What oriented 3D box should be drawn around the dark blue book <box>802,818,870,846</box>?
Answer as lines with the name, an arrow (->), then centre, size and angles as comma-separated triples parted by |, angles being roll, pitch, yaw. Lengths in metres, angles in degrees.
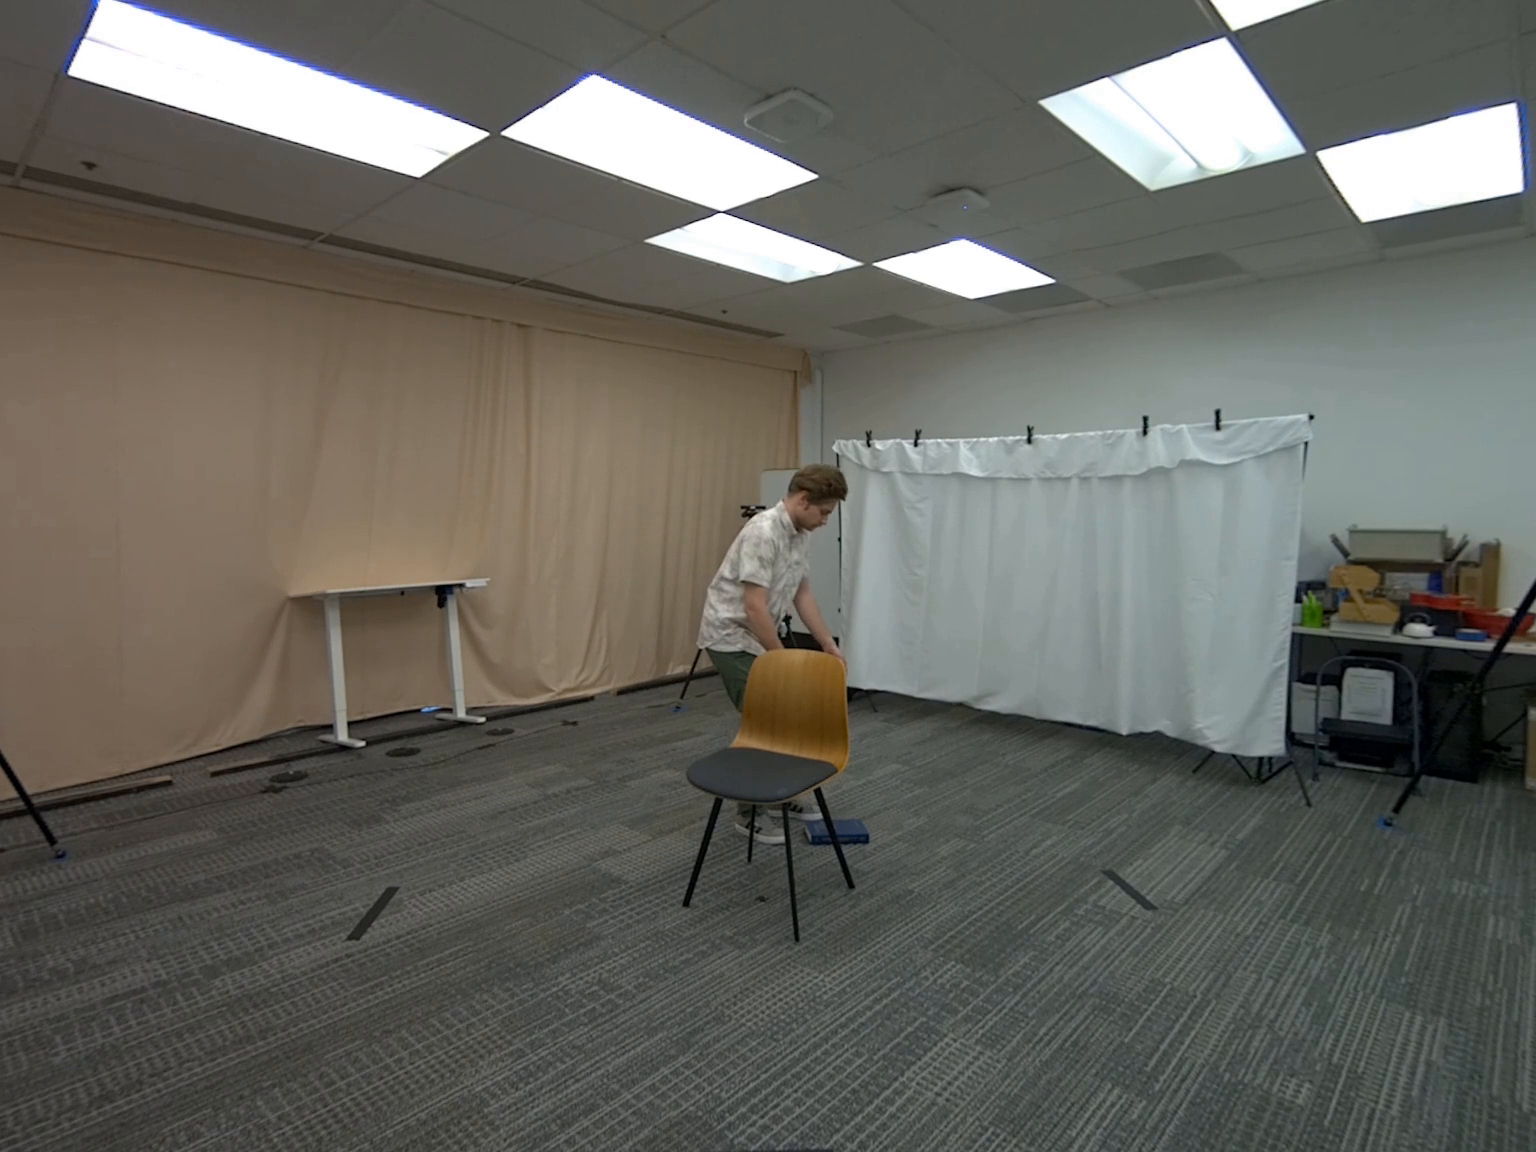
dark blue book -> 0.287, 1.072, 3.536 | 0.244, 0.045, 0.165 | -1, 4, -6
